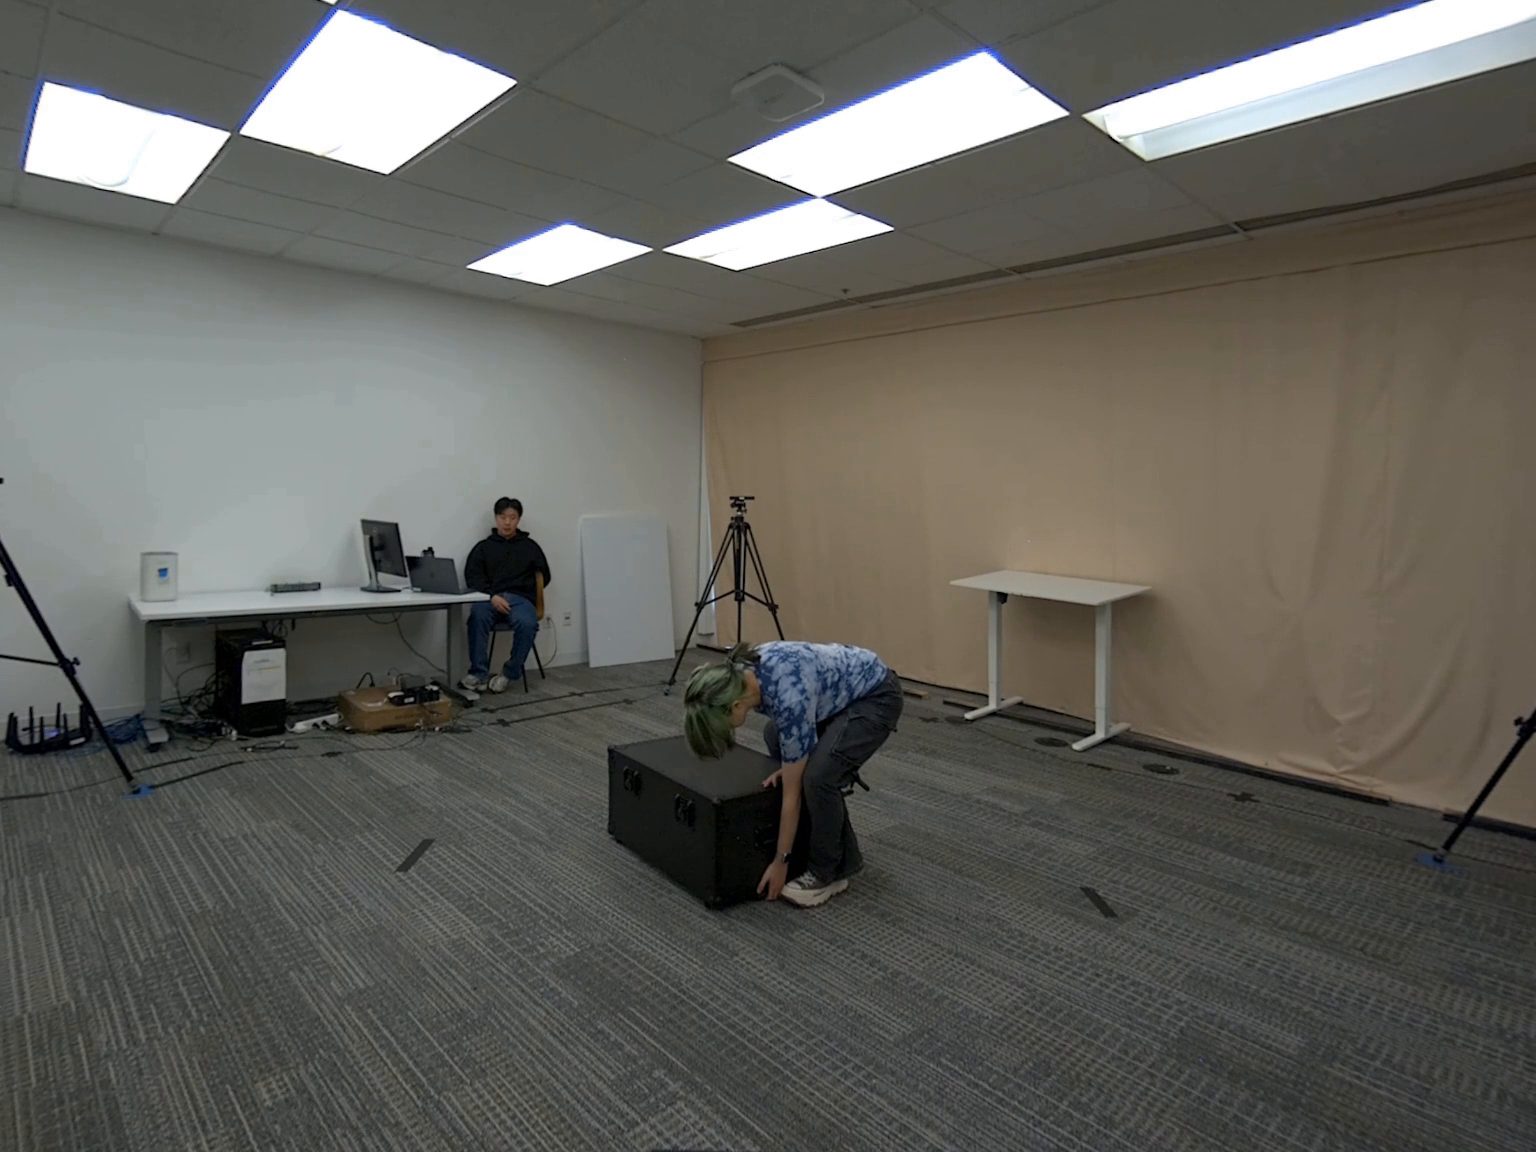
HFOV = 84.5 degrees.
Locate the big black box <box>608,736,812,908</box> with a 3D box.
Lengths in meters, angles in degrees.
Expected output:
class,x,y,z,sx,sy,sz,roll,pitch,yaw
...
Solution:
class,x,y,z,sx,sy,sz,roll,pitch,yaw
big black box,-0.248,0.896,3.255,0.510,0.395,0.883,-1,5,-36
